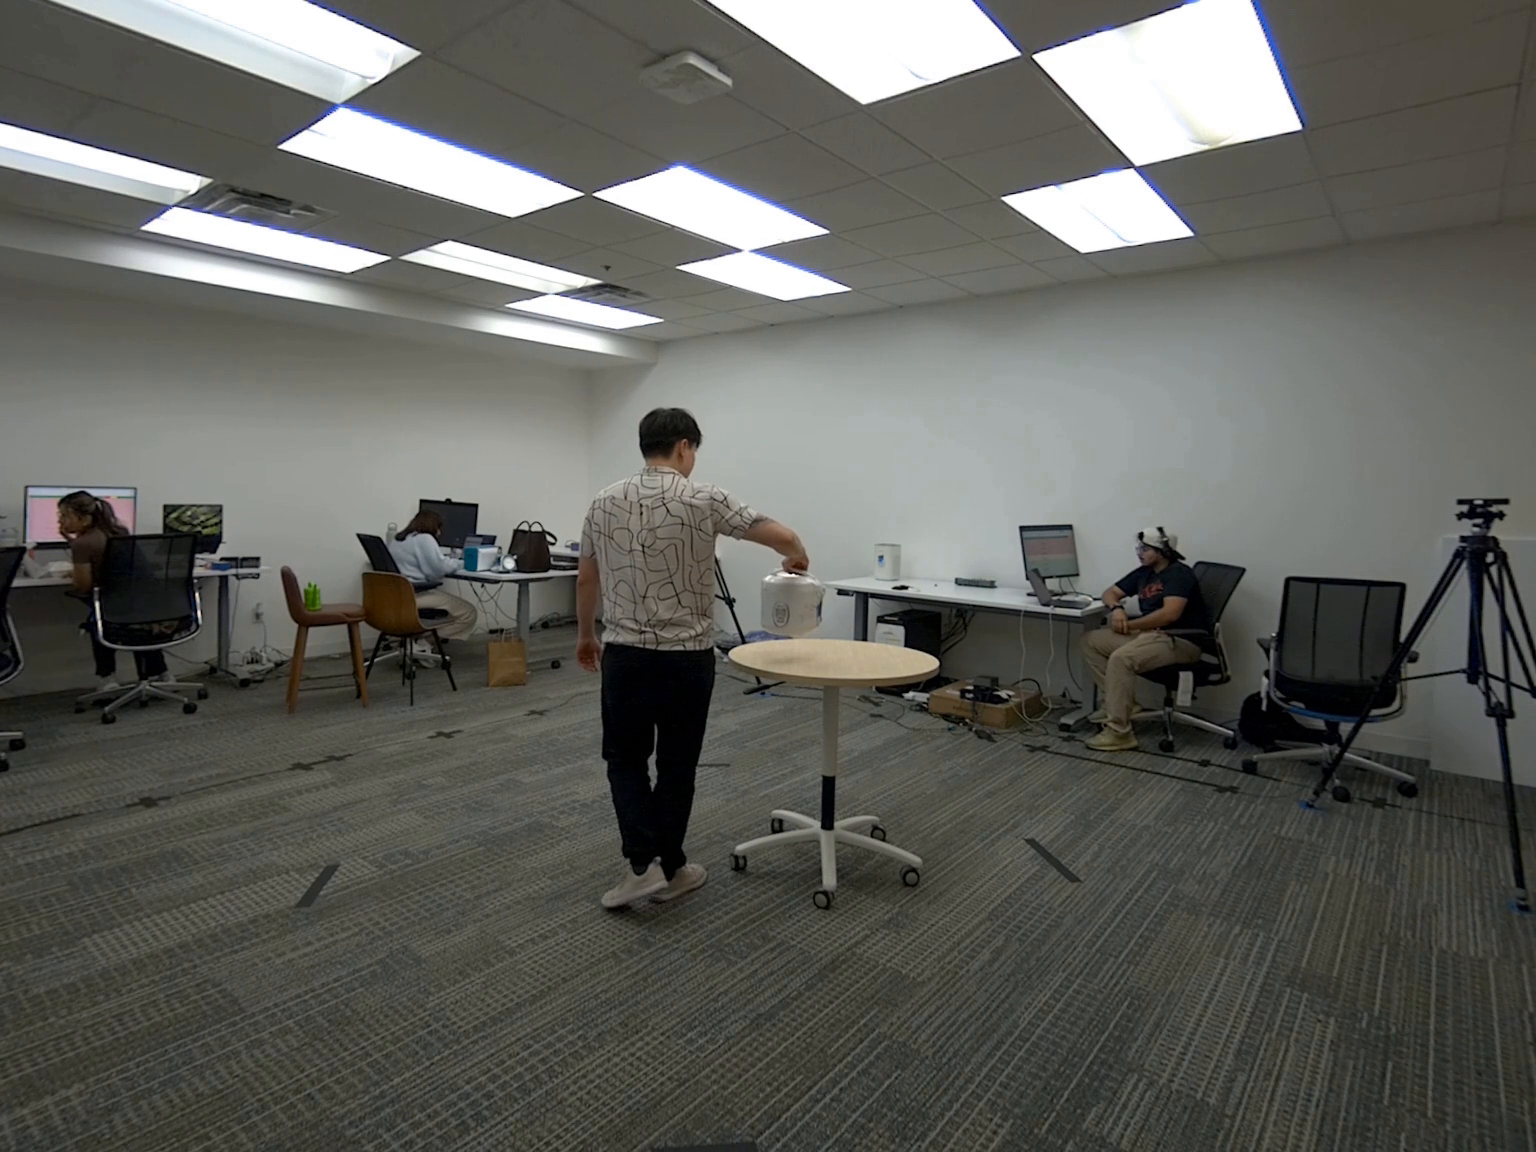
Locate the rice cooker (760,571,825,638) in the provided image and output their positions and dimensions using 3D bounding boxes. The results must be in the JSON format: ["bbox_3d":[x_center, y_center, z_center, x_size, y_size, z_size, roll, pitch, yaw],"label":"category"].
[{"bbox_3d":[0.078,0.084,3.059,0.225,0.232,0.213,2,4,20],"label":"rice cooker"}]
